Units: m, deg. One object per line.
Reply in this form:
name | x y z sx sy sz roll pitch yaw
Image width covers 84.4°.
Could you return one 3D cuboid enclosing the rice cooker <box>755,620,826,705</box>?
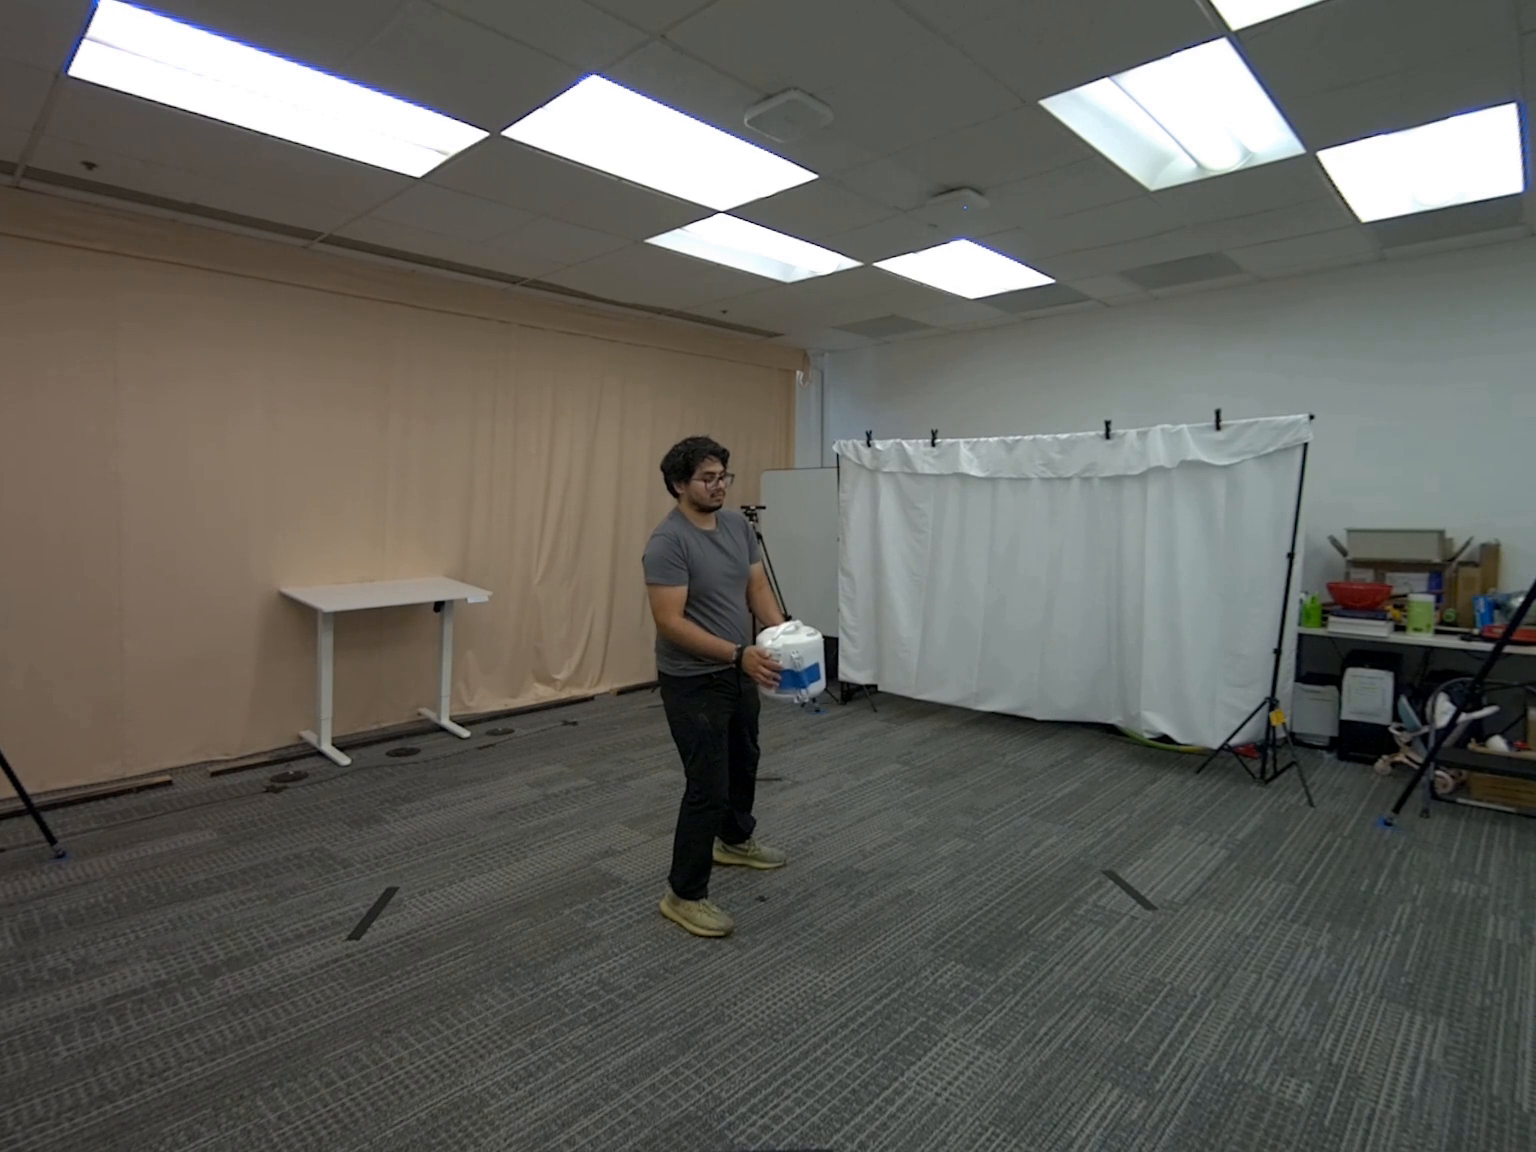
rice cooker | 0.071 0.262 2.630 0.224 0.232 0.214 1 6 35
